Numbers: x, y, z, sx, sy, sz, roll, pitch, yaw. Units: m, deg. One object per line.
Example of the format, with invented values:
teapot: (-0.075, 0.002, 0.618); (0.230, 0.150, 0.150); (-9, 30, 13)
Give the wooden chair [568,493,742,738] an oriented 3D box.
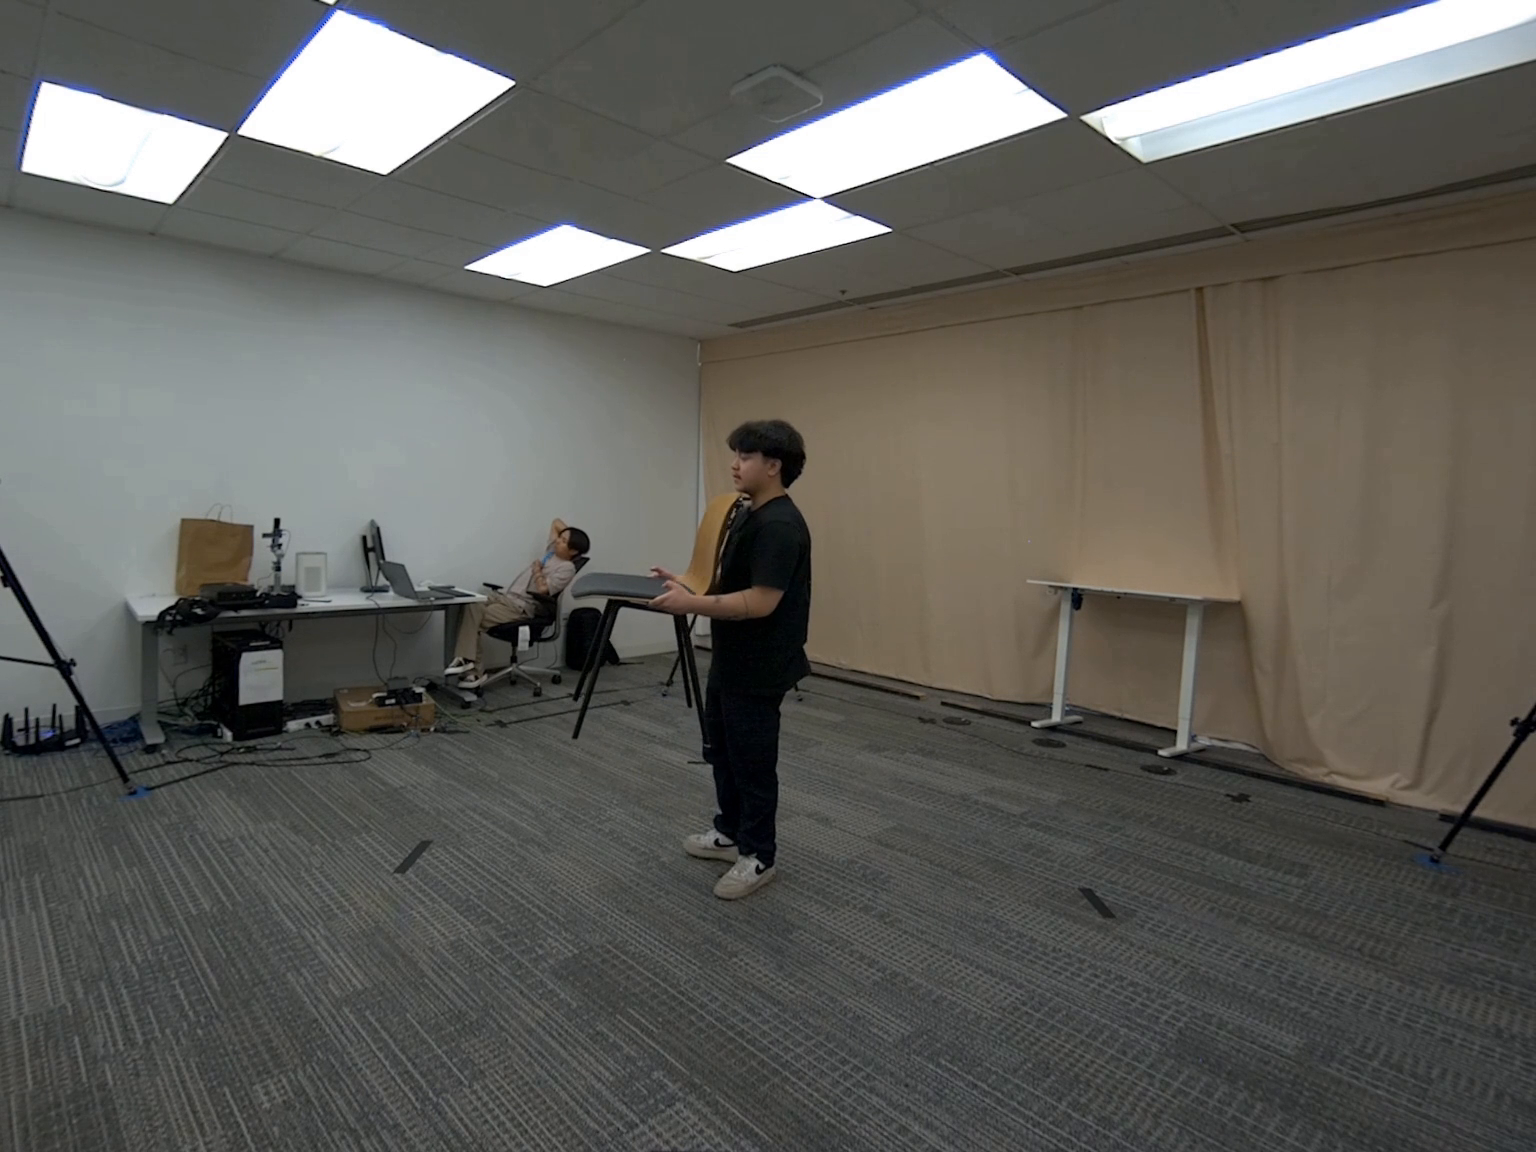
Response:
wooden chair: (-0.424, 0.104, 2.923); (0.517, 0.875, 0.485); (9, 5, -14)
